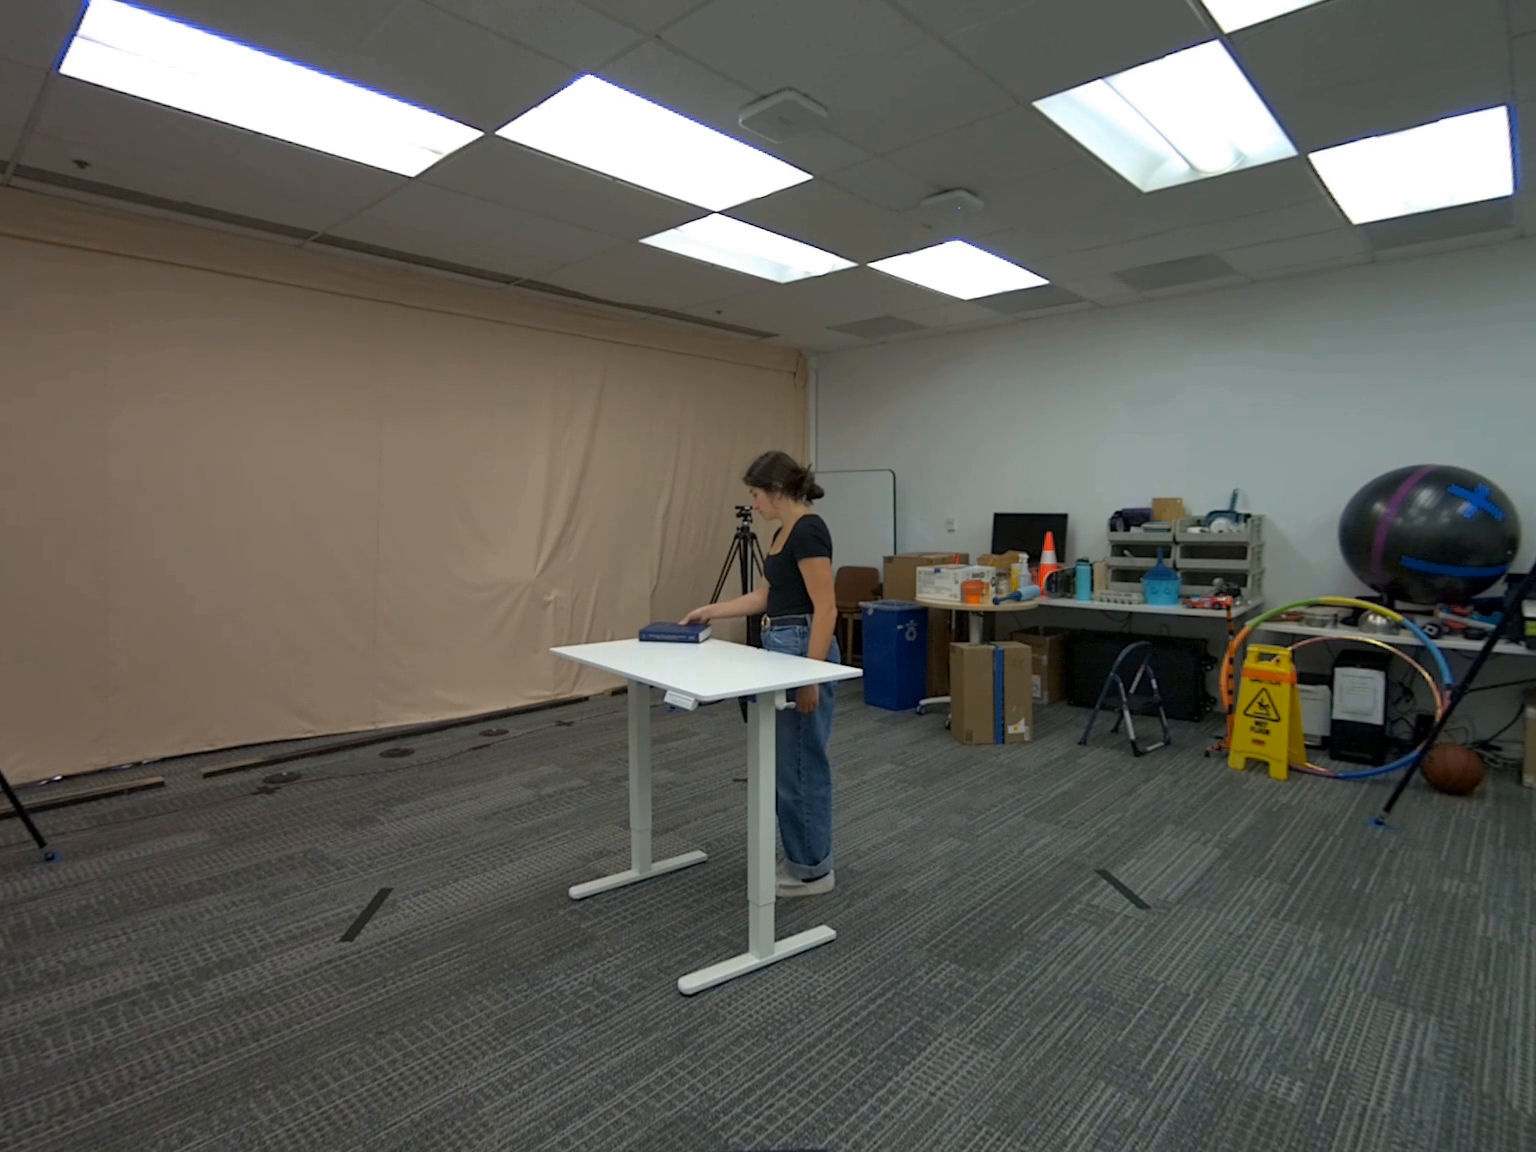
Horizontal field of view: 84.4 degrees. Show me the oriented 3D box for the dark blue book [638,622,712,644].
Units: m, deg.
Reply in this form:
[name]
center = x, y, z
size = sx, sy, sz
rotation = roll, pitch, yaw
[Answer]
[dark blue book]
center = -0.354, 0.224, 3.240
size = 0.250, 0.045, 0.161
rotation = 1, 7, 17
